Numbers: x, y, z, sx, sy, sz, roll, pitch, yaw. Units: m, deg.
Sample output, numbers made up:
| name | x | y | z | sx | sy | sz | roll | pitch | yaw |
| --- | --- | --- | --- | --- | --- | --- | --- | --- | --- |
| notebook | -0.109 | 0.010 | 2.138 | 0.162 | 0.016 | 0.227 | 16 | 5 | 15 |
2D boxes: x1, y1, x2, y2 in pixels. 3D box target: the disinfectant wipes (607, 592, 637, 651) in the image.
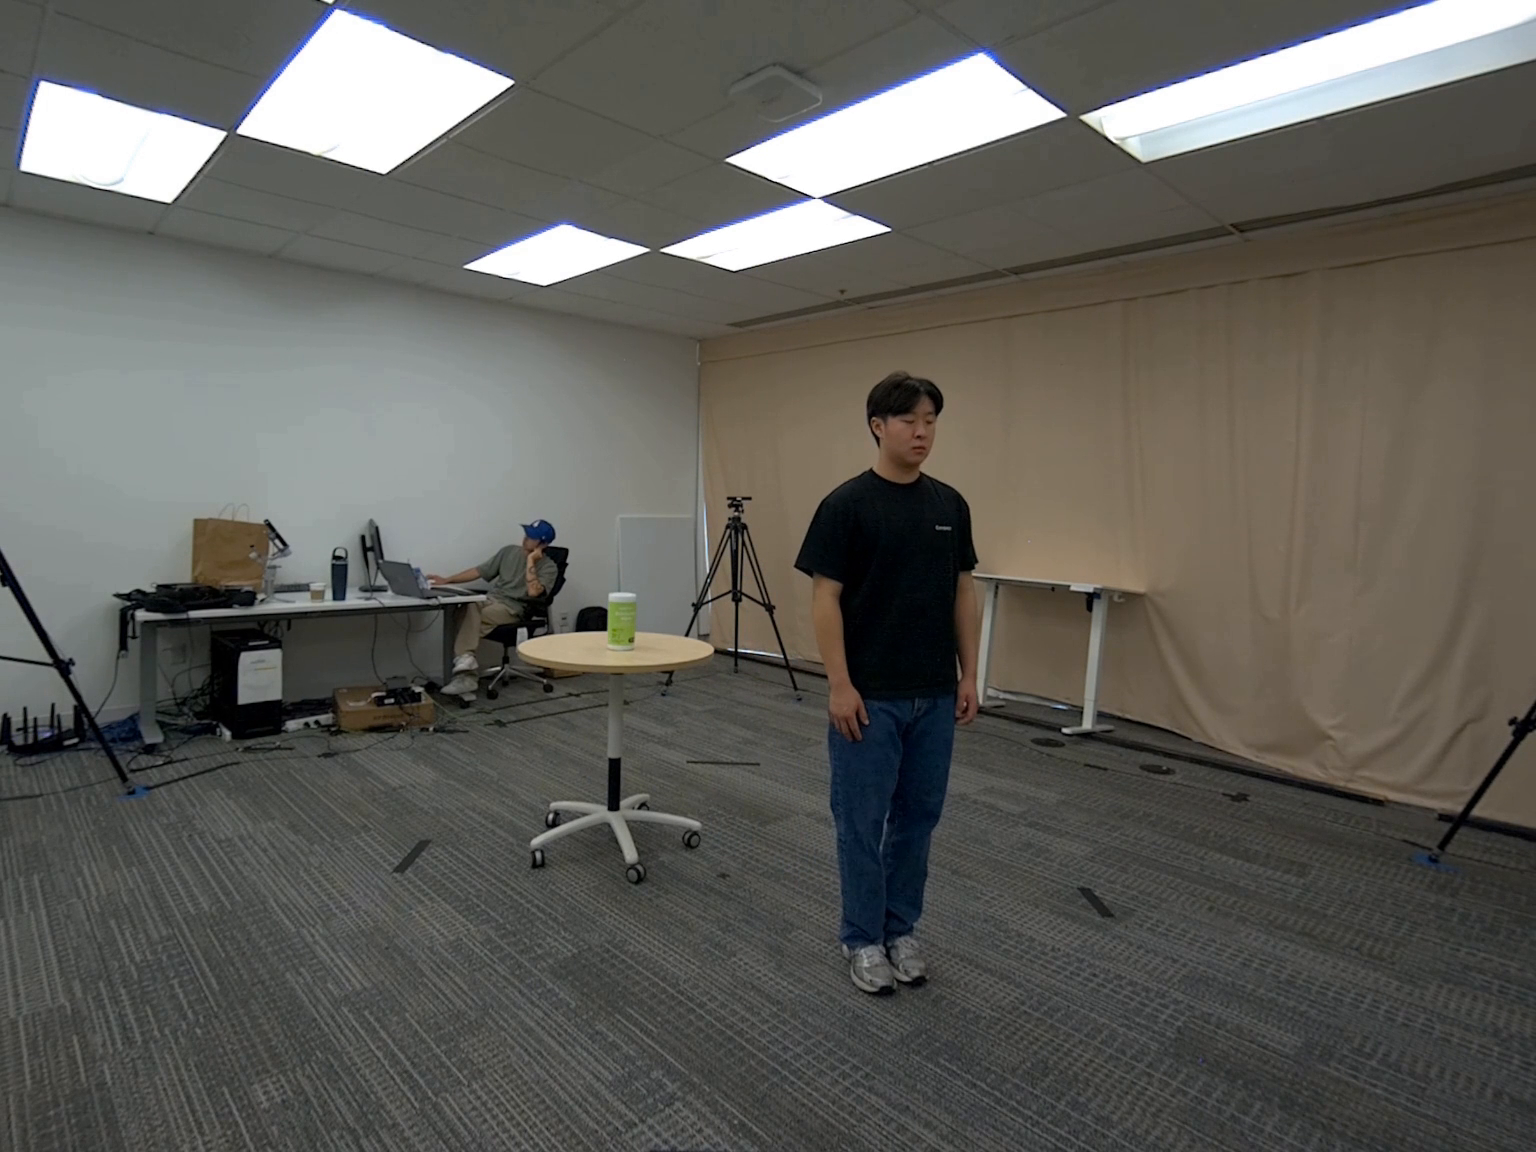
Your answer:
| name | x | y | z | sx | sy | sz | roll | pitch | yaw |
| --- | --- | --- | --- | --- | --- | --- | --- | --- | --- |
| disinfectant wipes | -0.578 | 0.181 | 3.282 | 0.118 | 0.217 | 0.118 | 2 | 4 | -2 |
